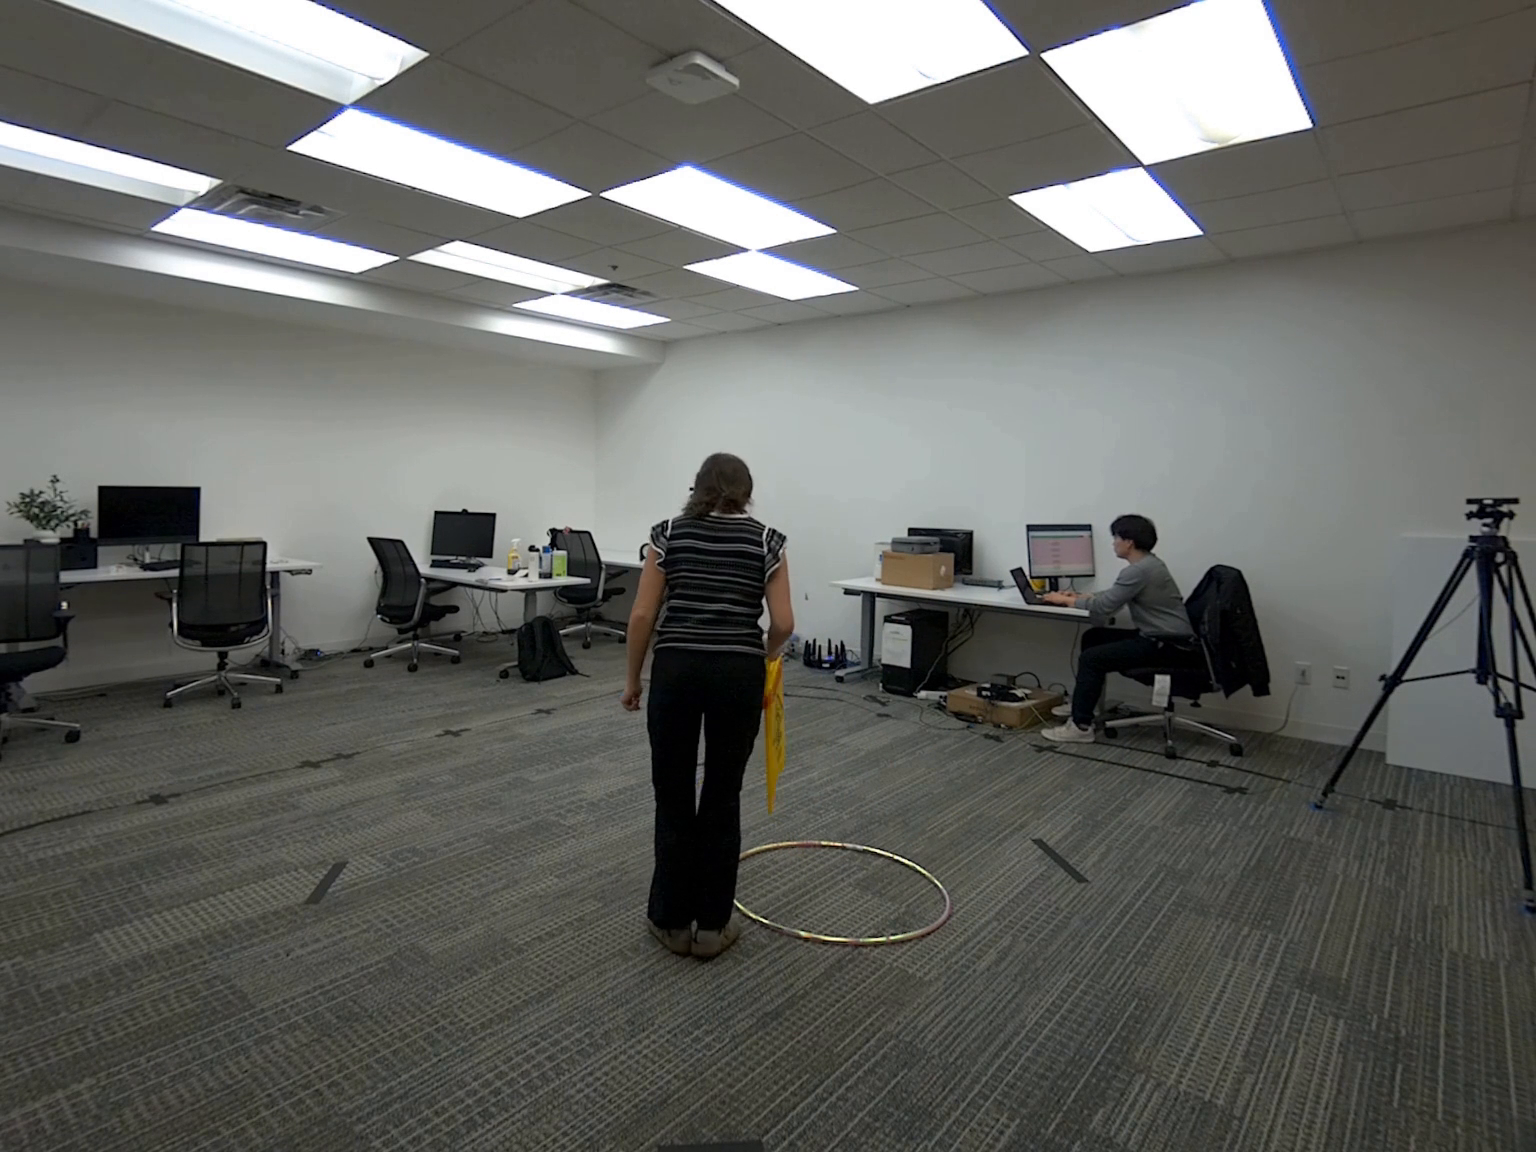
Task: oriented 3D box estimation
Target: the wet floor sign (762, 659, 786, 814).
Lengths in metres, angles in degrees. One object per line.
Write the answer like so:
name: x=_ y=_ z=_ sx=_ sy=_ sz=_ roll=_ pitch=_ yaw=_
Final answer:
wet floor sign: x=-0.041 y=0.484 z=2.934 sx=0.292 sy=0.632 sz=0.286 roll=12 pitch=32 yaw=5
